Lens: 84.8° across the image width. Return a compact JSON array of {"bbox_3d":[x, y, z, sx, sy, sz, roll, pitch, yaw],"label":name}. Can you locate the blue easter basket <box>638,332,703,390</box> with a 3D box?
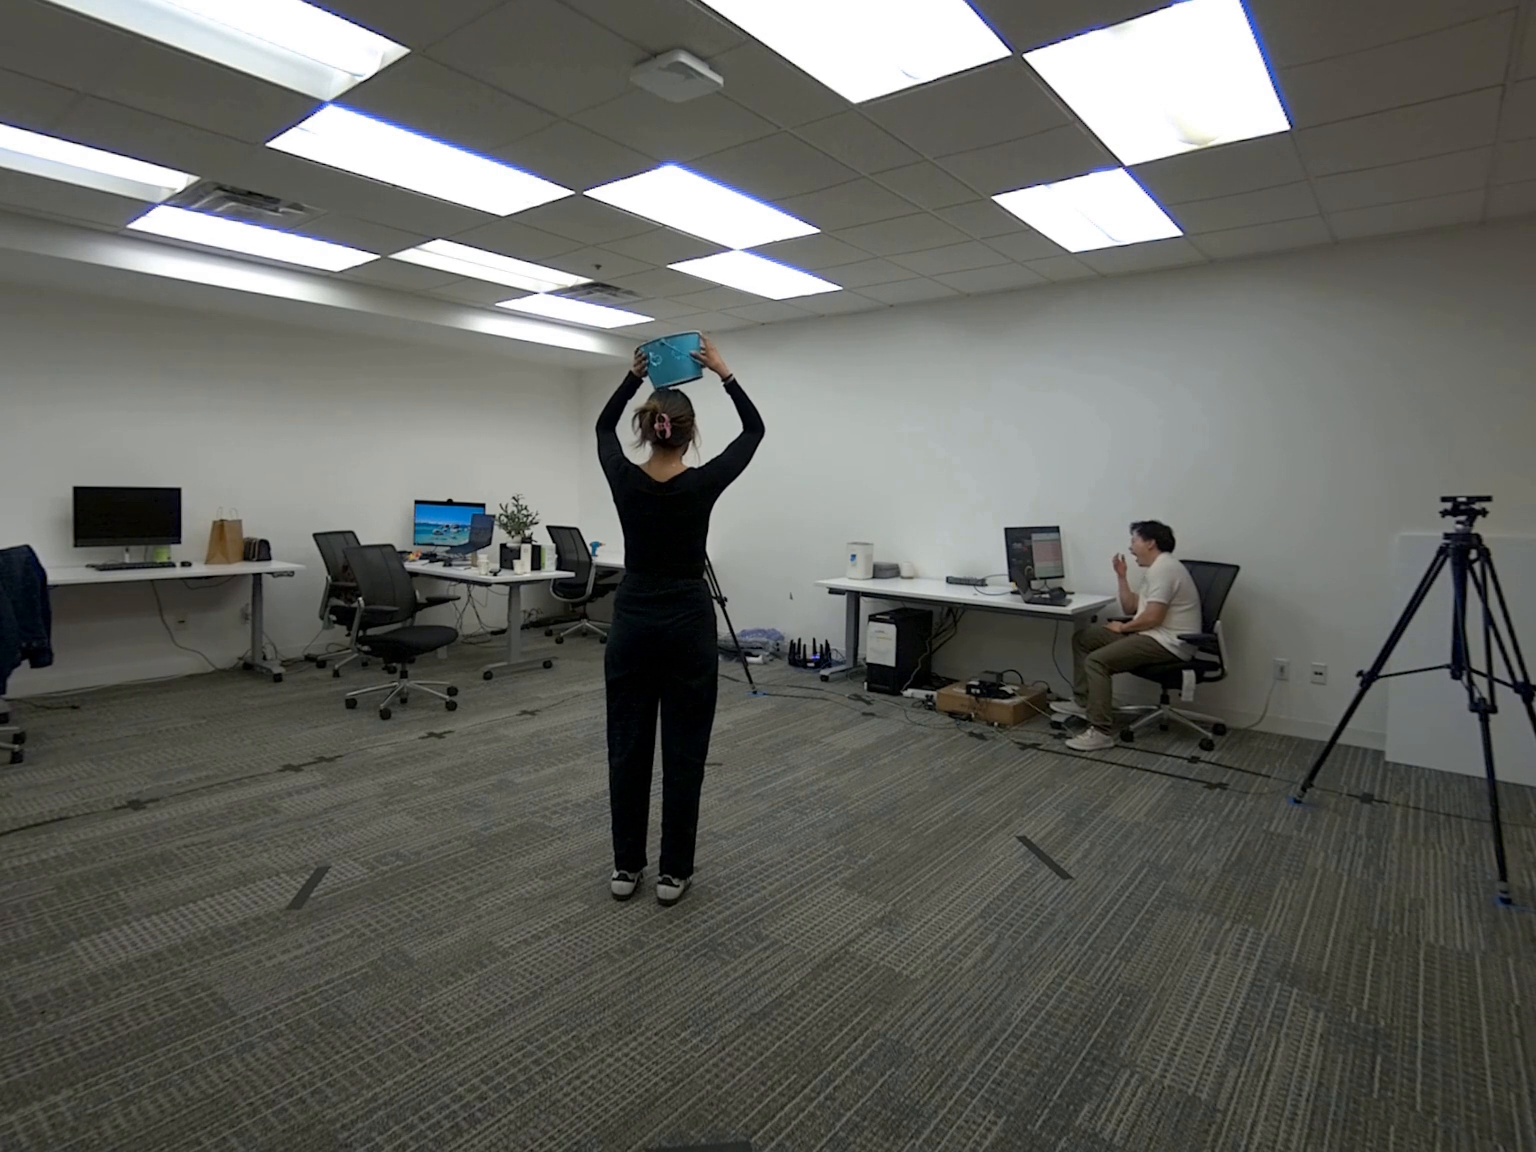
[{"bbox_3d":[-0.339,-0.757,2.972,0.243,0.155,0.245,-14,6,-1],"label":"blue easter basket"}]
